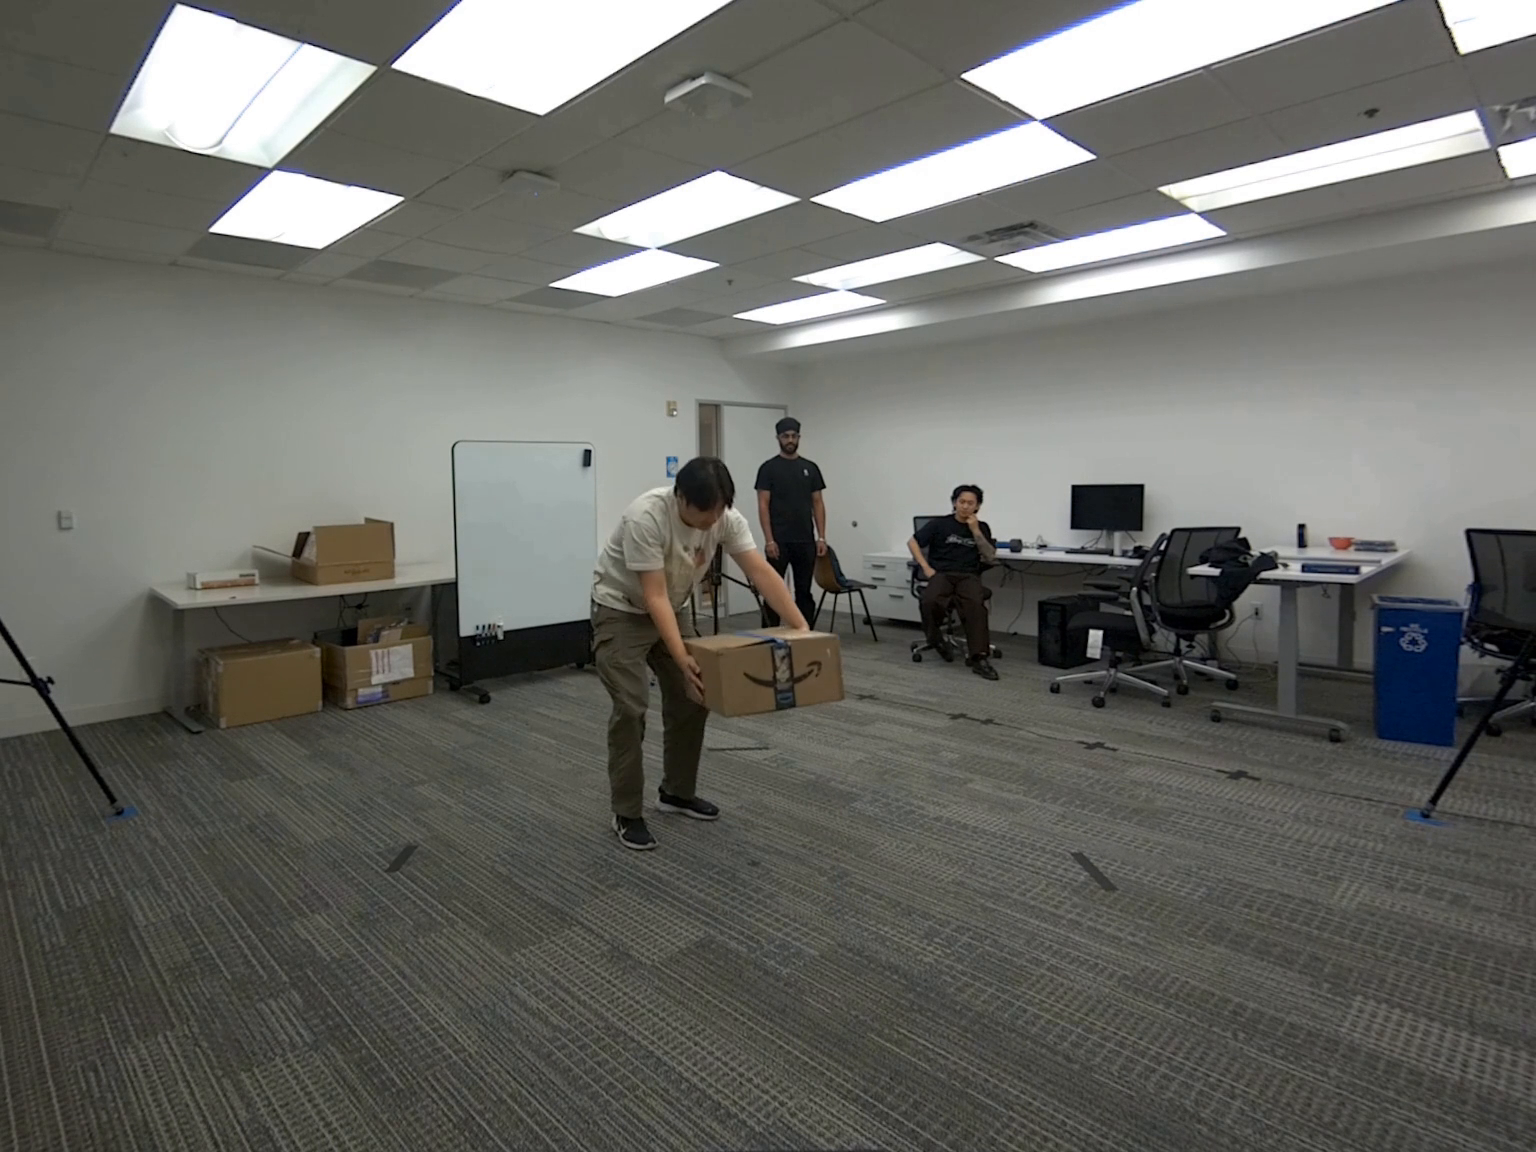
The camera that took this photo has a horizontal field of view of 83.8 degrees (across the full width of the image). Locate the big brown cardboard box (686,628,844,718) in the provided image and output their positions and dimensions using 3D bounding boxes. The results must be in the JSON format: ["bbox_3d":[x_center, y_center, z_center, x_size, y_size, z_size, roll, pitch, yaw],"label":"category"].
[{"bbox_3d":[-0.037,0.327,3.010,0.412,0.233,0.596,-7,0,-17],"label":"big brown cardboard box"}]
